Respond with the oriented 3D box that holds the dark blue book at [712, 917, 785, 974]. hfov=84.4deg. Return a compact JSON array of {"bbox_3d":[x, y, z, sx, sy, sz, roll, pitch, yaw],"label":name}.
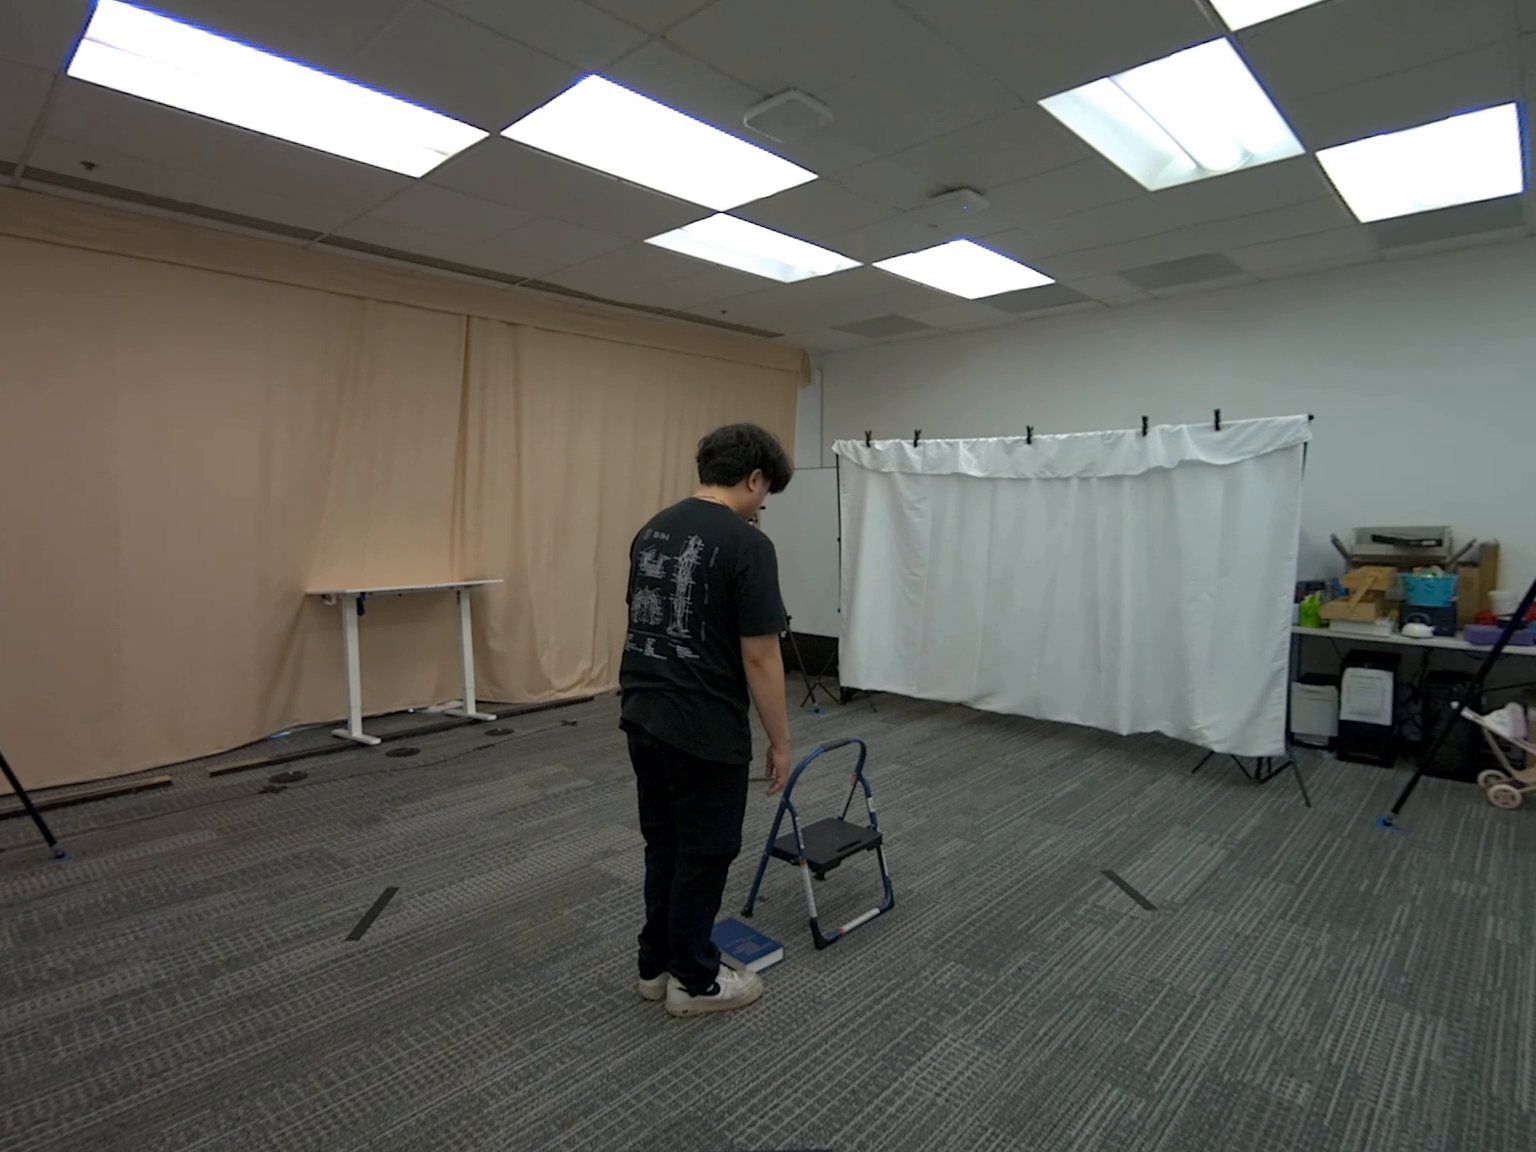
[{"bbox_3d":[-0.088,1.158,2.615,0.158,0.045,0.253,-5,6,-43],"label":"dark blue book"}]
